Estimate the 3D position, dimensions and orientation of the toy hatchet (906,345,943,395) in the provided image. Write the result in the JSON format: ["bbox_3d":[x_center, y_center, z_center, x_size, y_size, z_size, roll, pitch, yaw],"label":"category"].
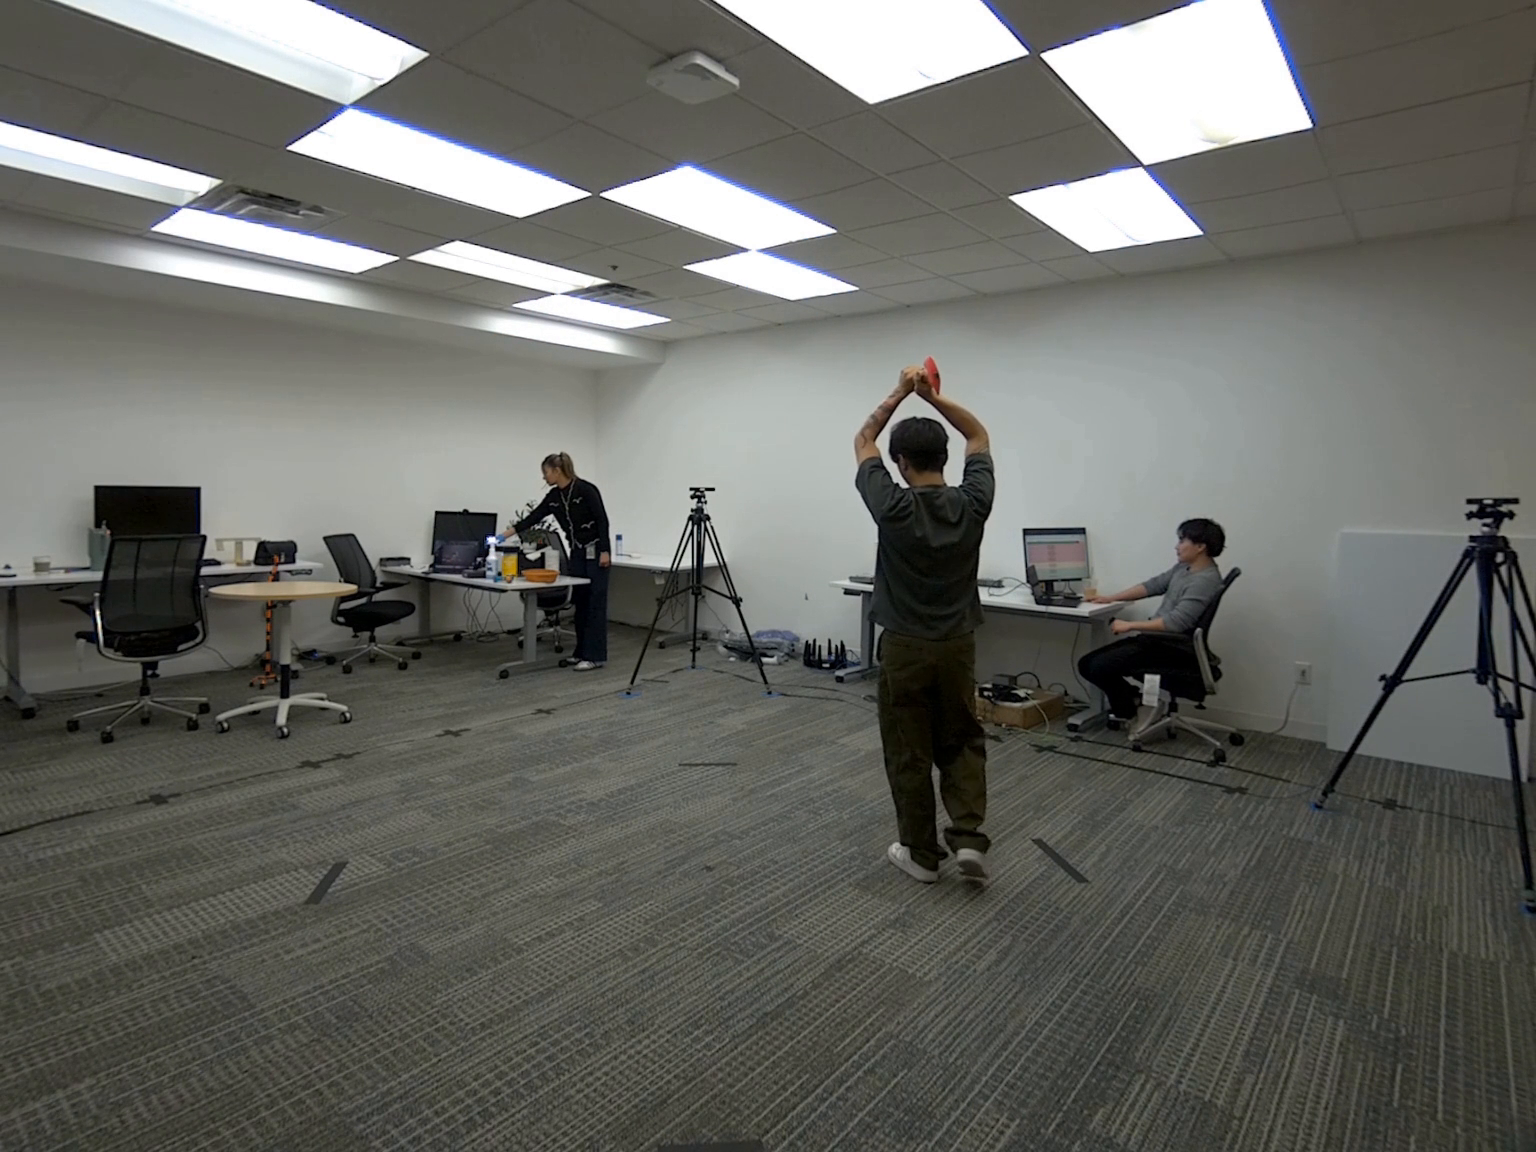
[{"bbox_3d":[0.552,-0.726,2.982,0.029,0.128,0.278,-12,26,-4],"label":"toy hatchet"}]
